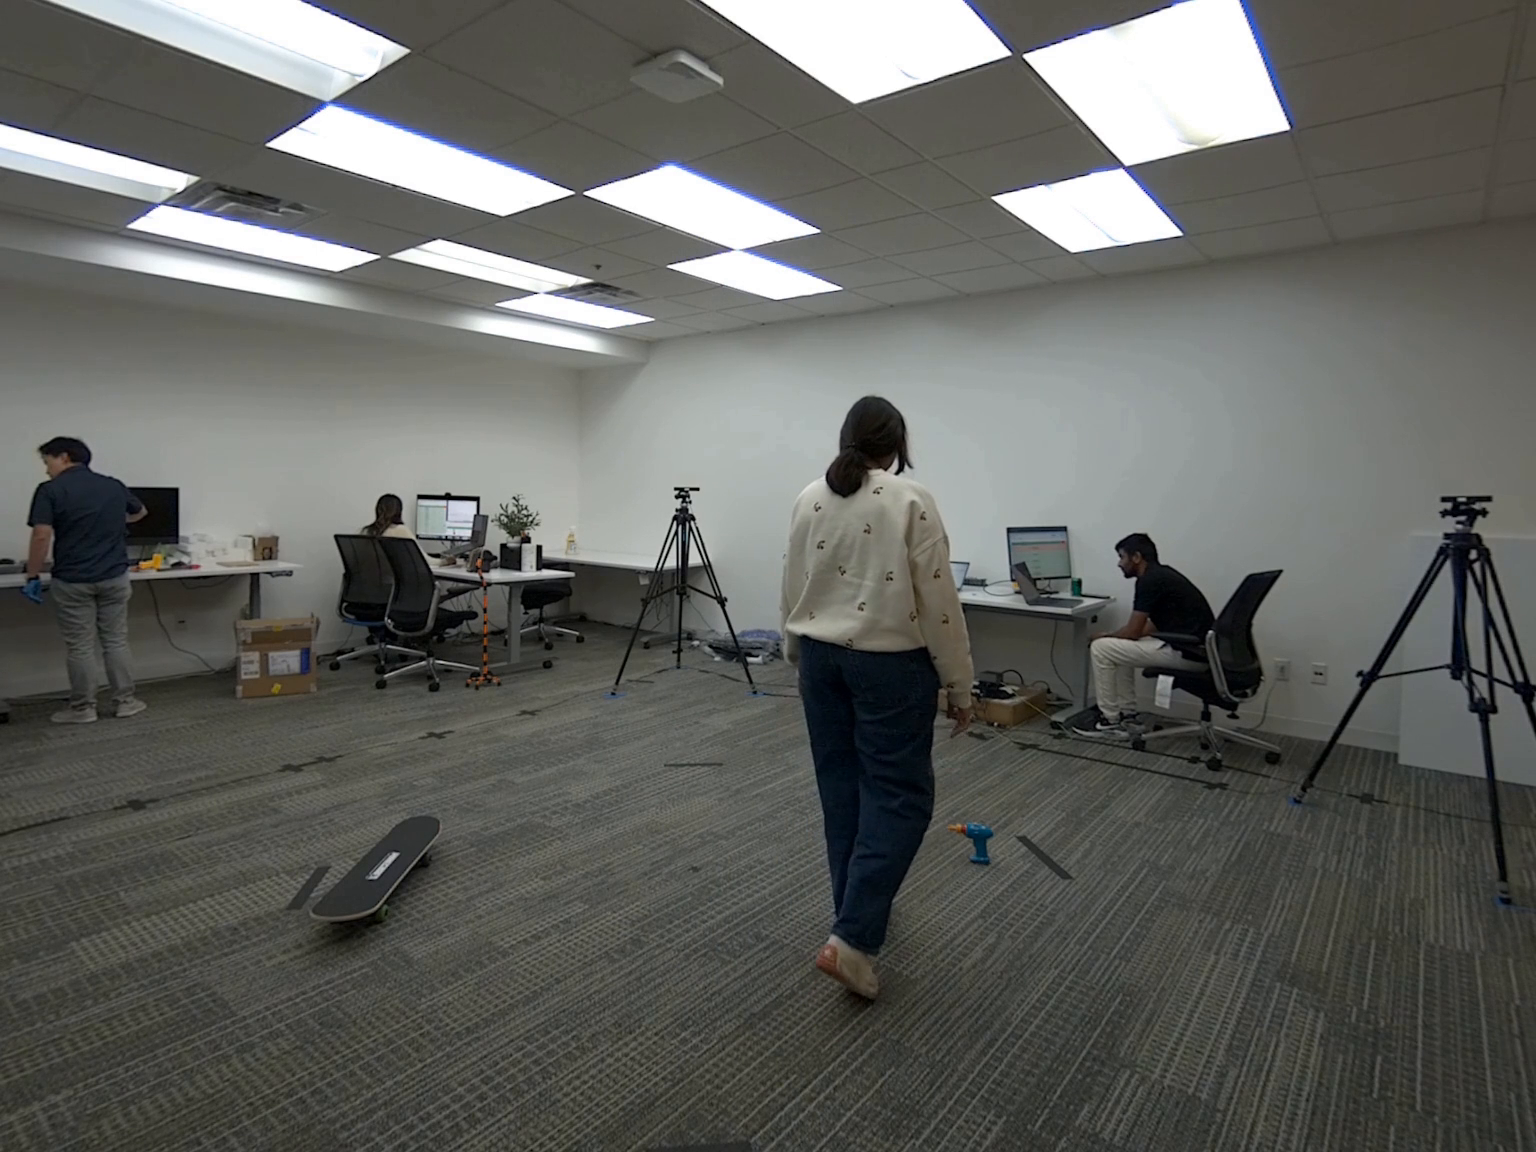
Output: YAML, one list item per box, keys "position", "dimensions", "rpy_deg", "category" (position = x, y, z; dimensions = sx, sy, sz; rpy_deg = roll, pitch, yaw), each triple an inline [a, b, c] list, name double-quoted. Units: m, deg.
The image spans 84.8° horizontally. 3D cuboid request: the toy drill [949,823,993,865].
- position: [0.759, 0.999, 3.227]
  dimensions: [0.173, 0.145, 0.060]
  rpy_deg: [3, 5, 15]
  category: "toy drill"
